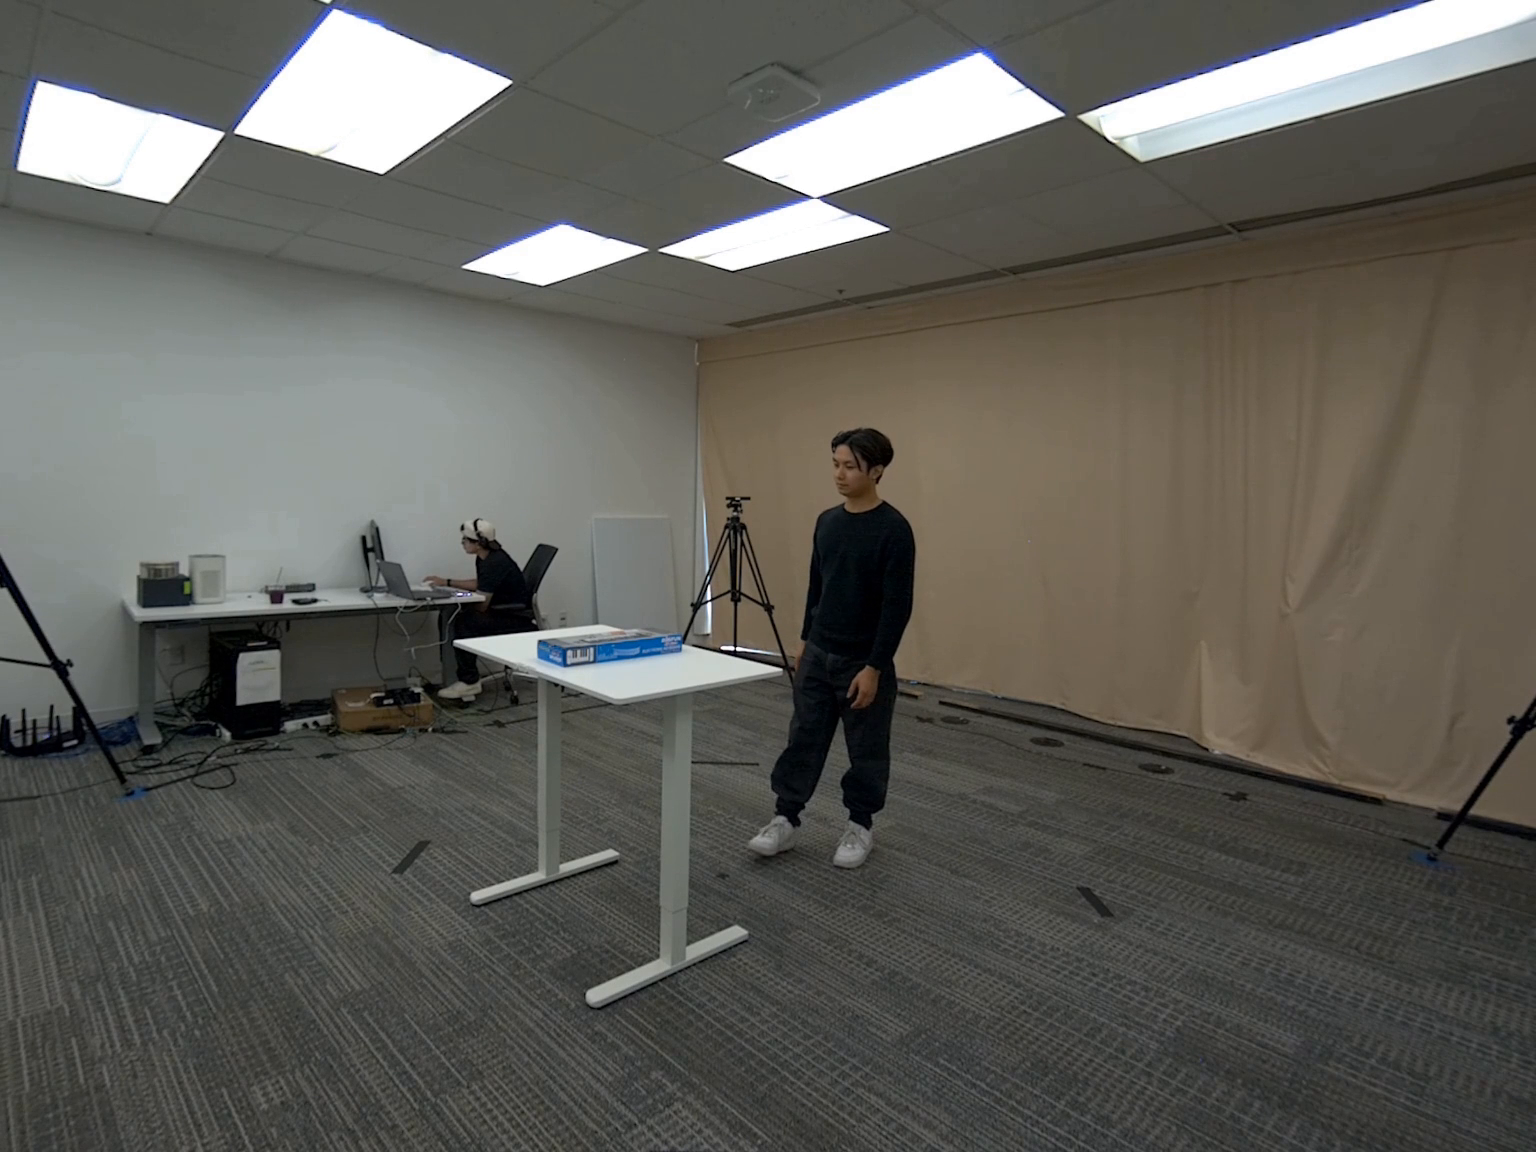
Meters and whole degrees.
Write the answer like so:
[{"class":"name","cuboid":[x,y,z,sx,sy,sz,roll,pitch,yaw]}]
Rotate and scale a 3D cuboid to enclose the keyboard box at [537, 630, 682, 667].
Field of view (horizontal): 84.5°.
[{"class":"keyboard box","cuboid":[-0.508,0.226,2.685,0.427,0.059,0.180,-4,7,-41]}]
